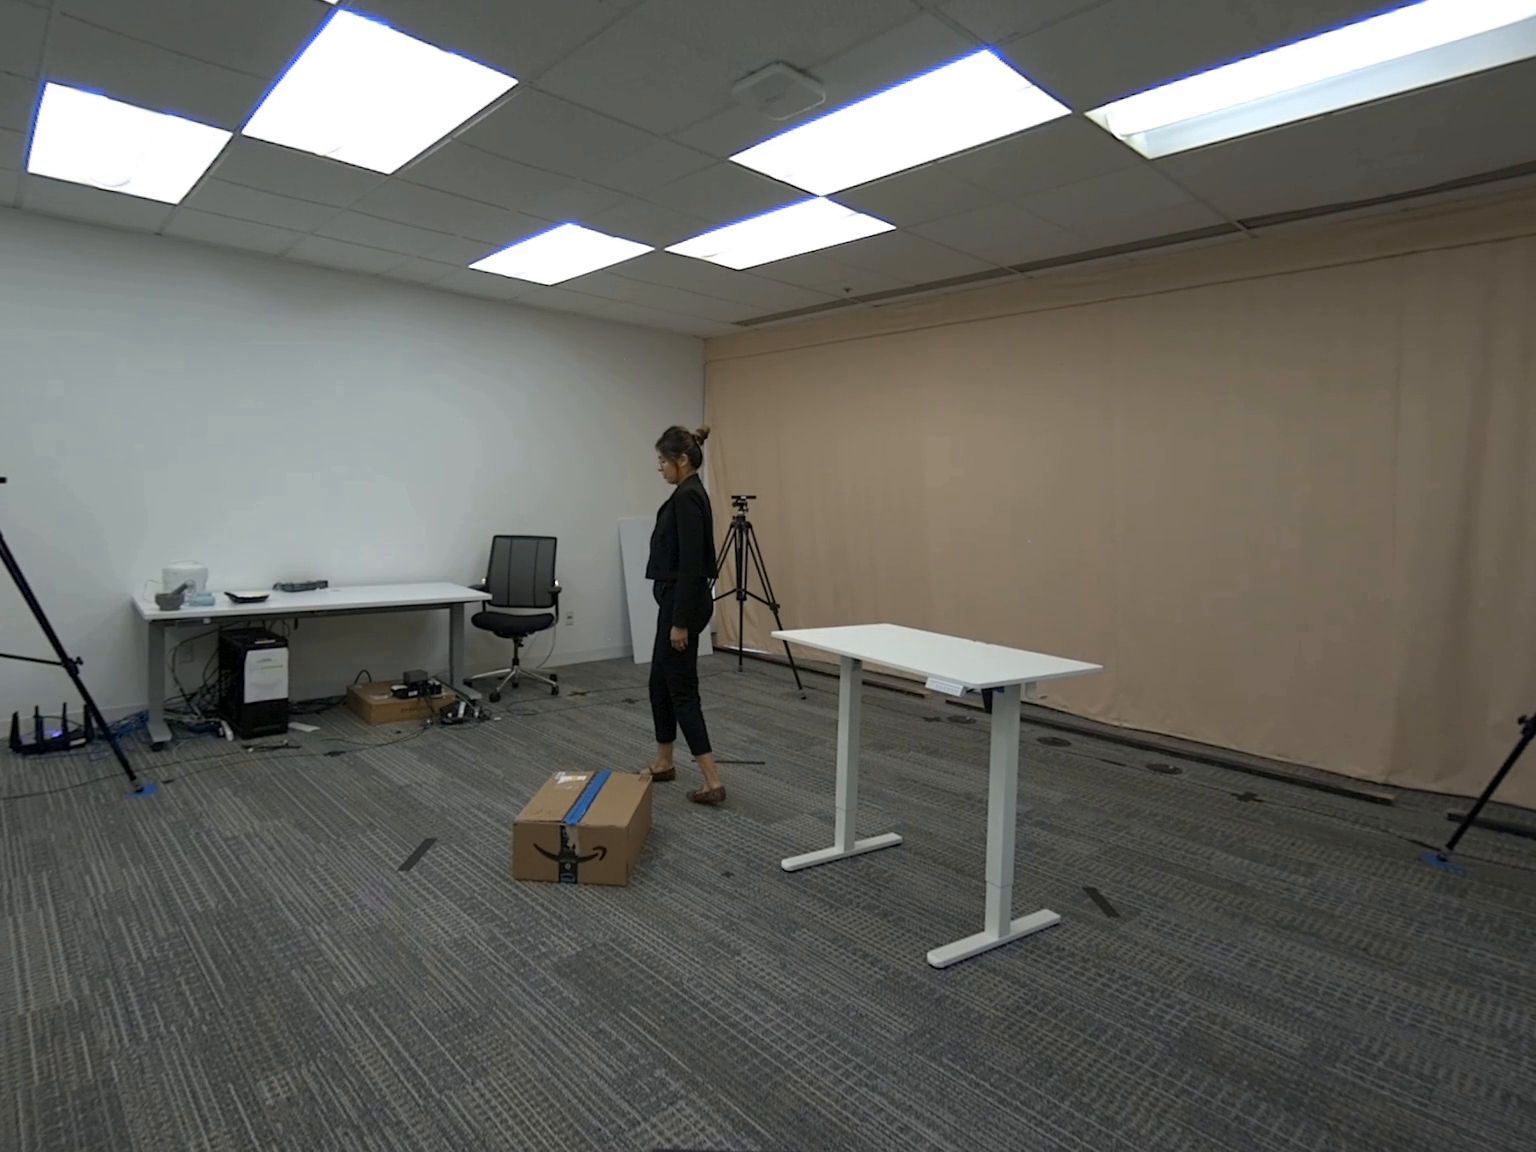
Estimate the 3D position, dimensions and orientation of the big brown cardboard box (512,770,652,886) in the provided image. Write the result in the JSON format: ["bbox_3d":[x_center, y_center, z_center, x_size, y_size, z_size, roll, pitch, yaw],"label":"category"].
[{"bbox_3d":[-0.712,0.963,3.277,0.418,0.232,0.590,1,6,2],"label":"big brown cardboard box"}]
